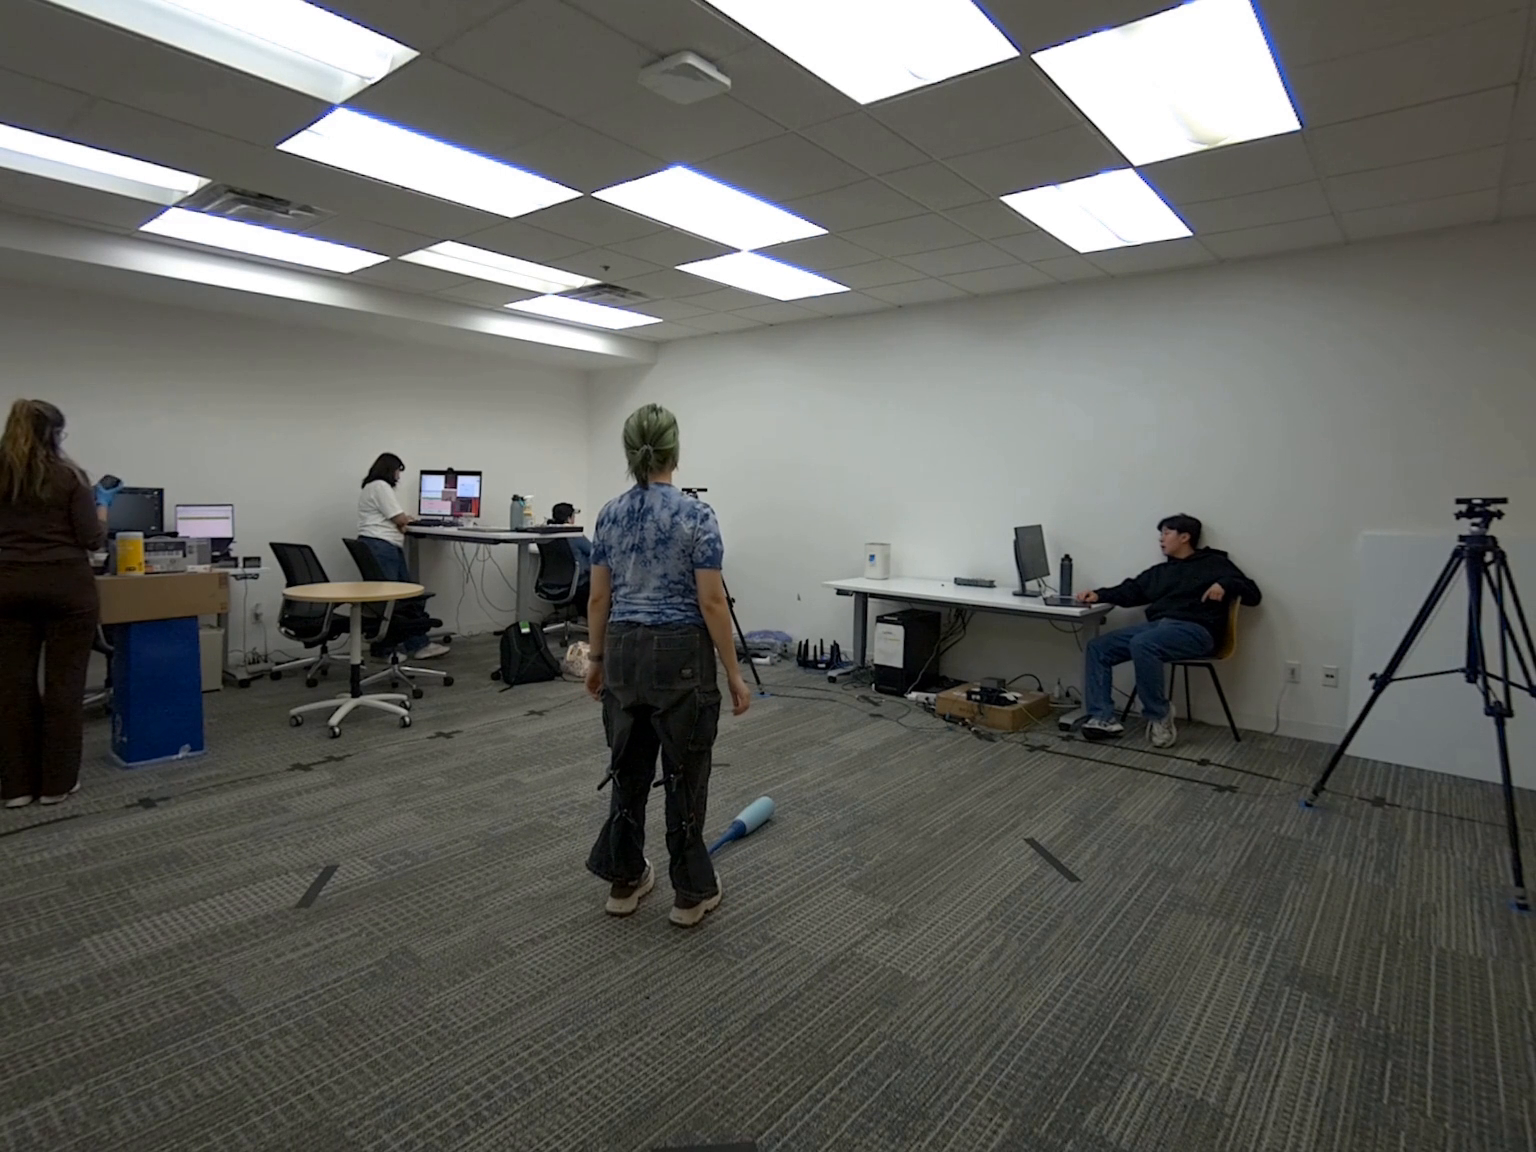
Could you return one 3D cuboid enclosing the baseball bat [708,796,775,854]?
[{"bbox_3d":[-0.136,1.012,3.385,0.091,0.088,0.531,3,9,28],"label":"baseball bat"}]
